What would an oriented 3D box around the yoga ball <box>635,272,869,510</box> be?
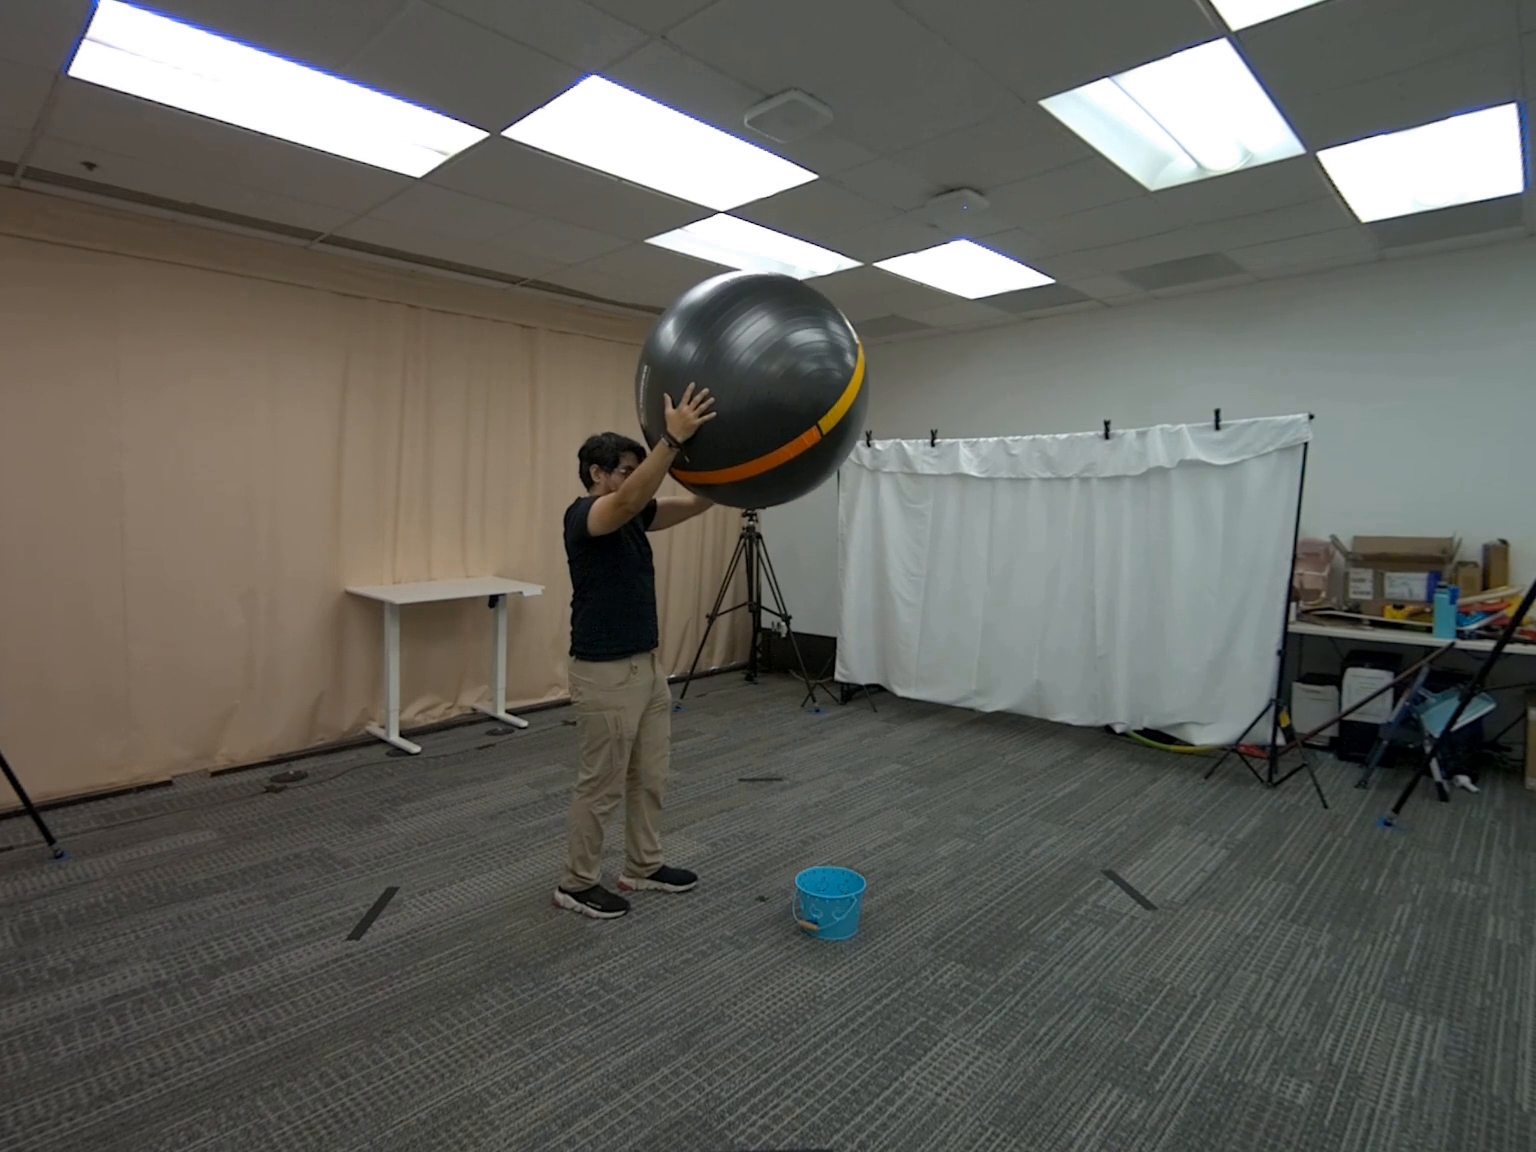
[{"bbox_3d":[-0.049,-0.590,2.748,0.757,0.756,0.761,0,4,-2],"label":"yoga ball"}]
